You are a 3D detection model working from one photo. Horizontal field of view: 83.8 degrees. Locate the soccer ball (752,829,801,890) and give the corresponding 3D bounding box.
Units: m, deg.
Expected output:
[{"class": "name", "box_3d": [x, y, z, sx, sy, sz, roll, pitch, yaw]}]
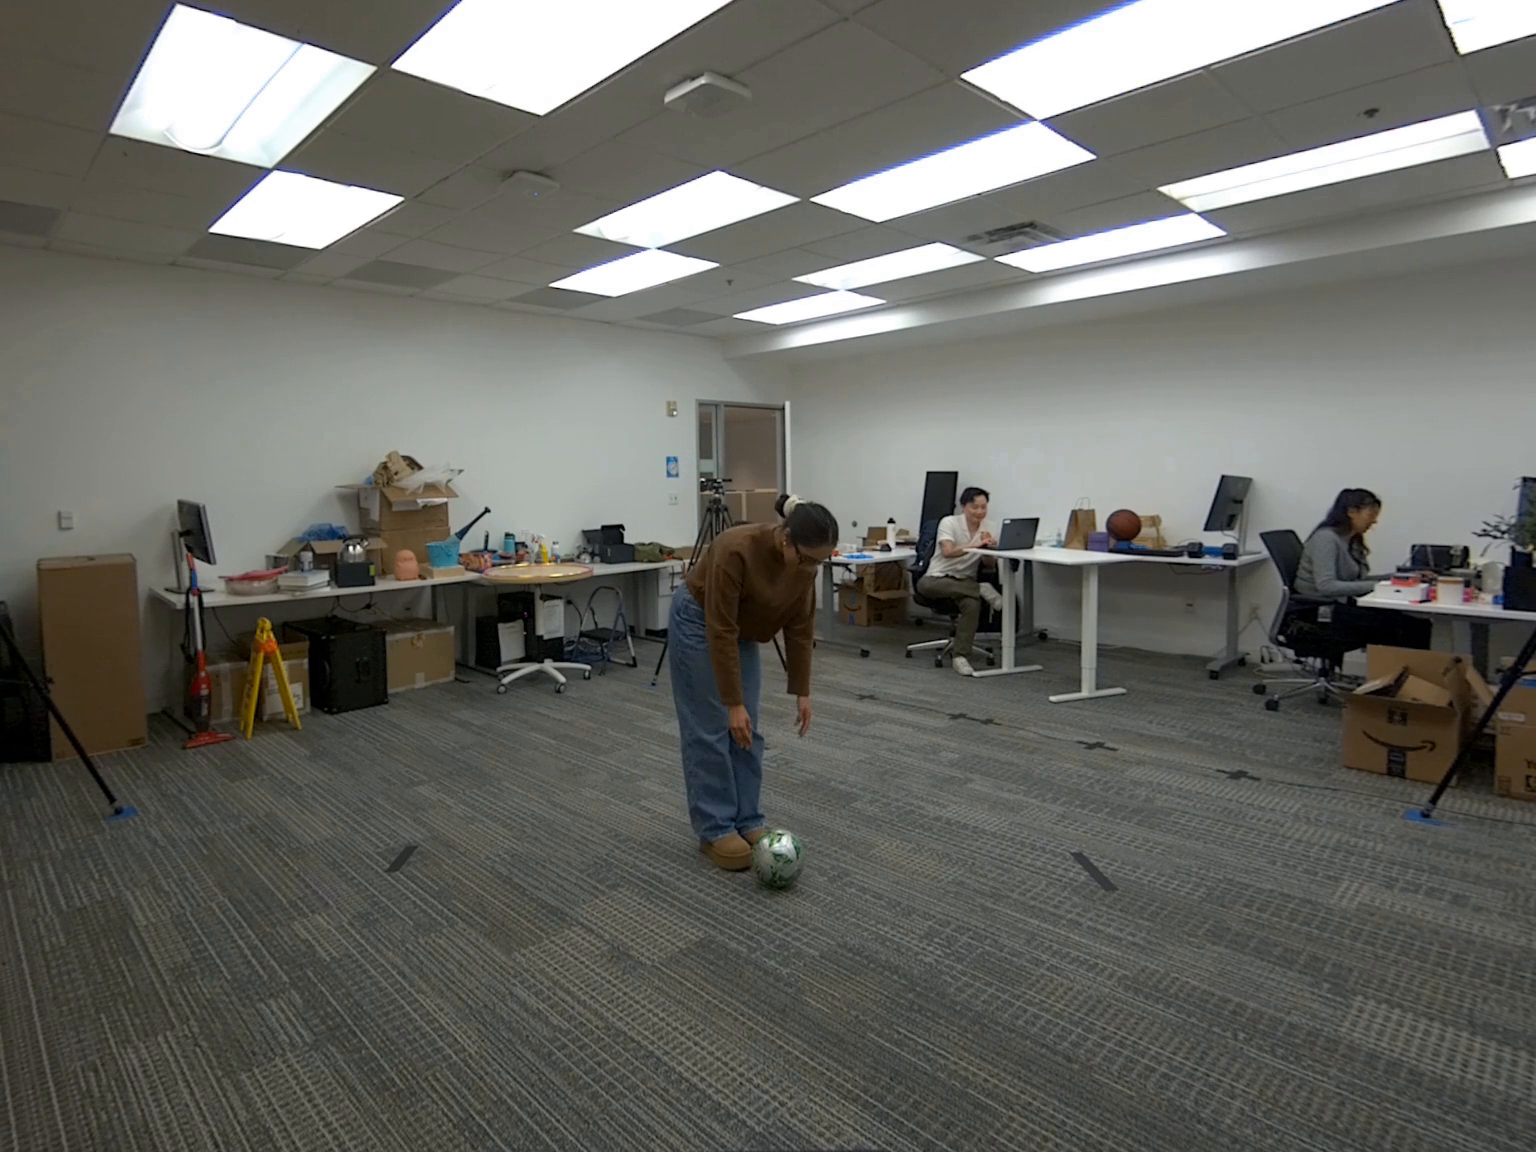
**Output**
[{"class": "soccer ball", "box_3d": [0.041, 0.963, 2.940, 0.187, 0.187, 0.188, -1, 5, -2]}]
